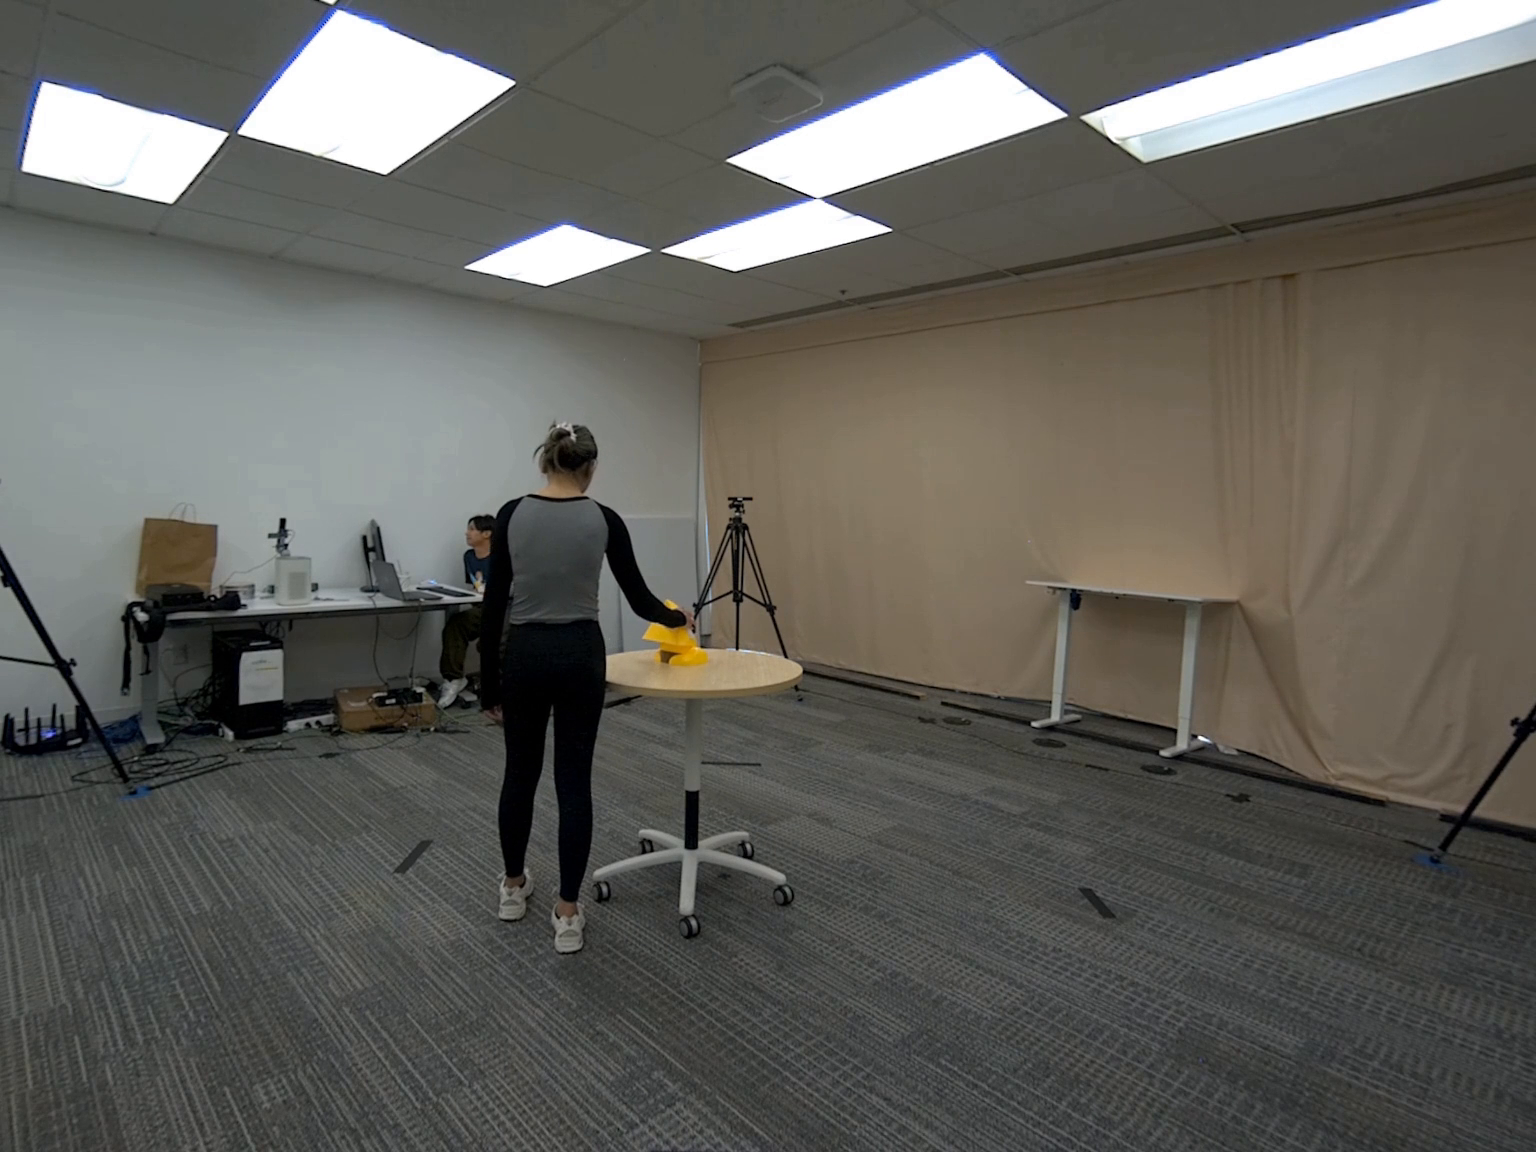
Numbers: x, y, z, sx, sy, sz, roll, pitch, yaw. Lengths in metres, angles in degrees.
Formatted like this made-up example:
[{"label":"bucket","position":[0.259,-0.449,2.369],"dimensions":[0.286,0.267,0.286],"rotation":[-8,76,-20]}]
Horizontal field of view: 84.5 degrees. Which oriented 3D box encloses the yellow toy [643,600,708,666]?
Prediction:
[{"label":"yellow toy","position":[-0.333,0.199,3.087],"dimensions":[0.210,0.230,0.188],"rotation":[4,4,43]}]
